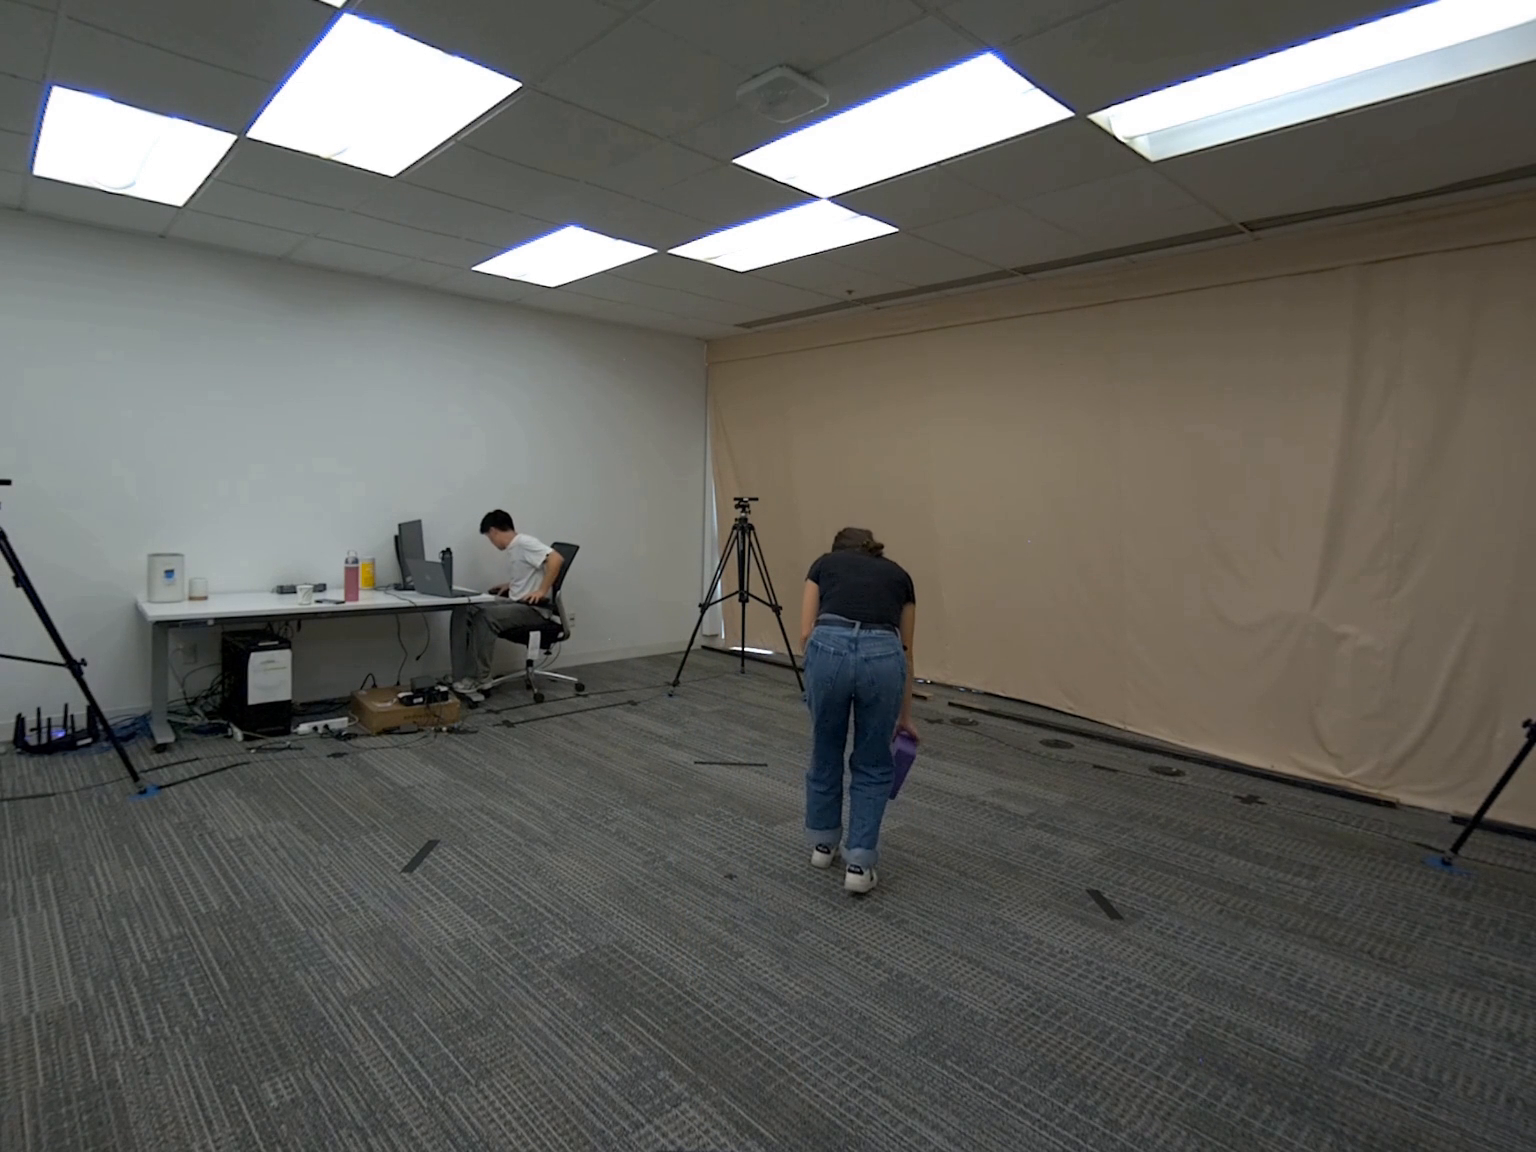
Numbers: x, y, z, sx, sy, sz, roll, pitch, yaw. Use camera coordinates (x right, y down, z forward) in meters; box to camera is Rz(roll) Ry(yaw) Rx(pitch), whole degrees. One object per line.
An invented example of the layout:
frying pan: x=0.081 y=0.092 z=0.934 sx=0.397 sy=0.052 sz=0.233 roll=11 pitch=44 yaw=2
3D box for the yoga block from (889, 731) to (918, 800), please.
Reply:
yoga block: x=0.482 y=0.740 z=3.283 sx=0.076 sy=0.228 sz=0.150 roll=20 pitch=18 yaw=-2
